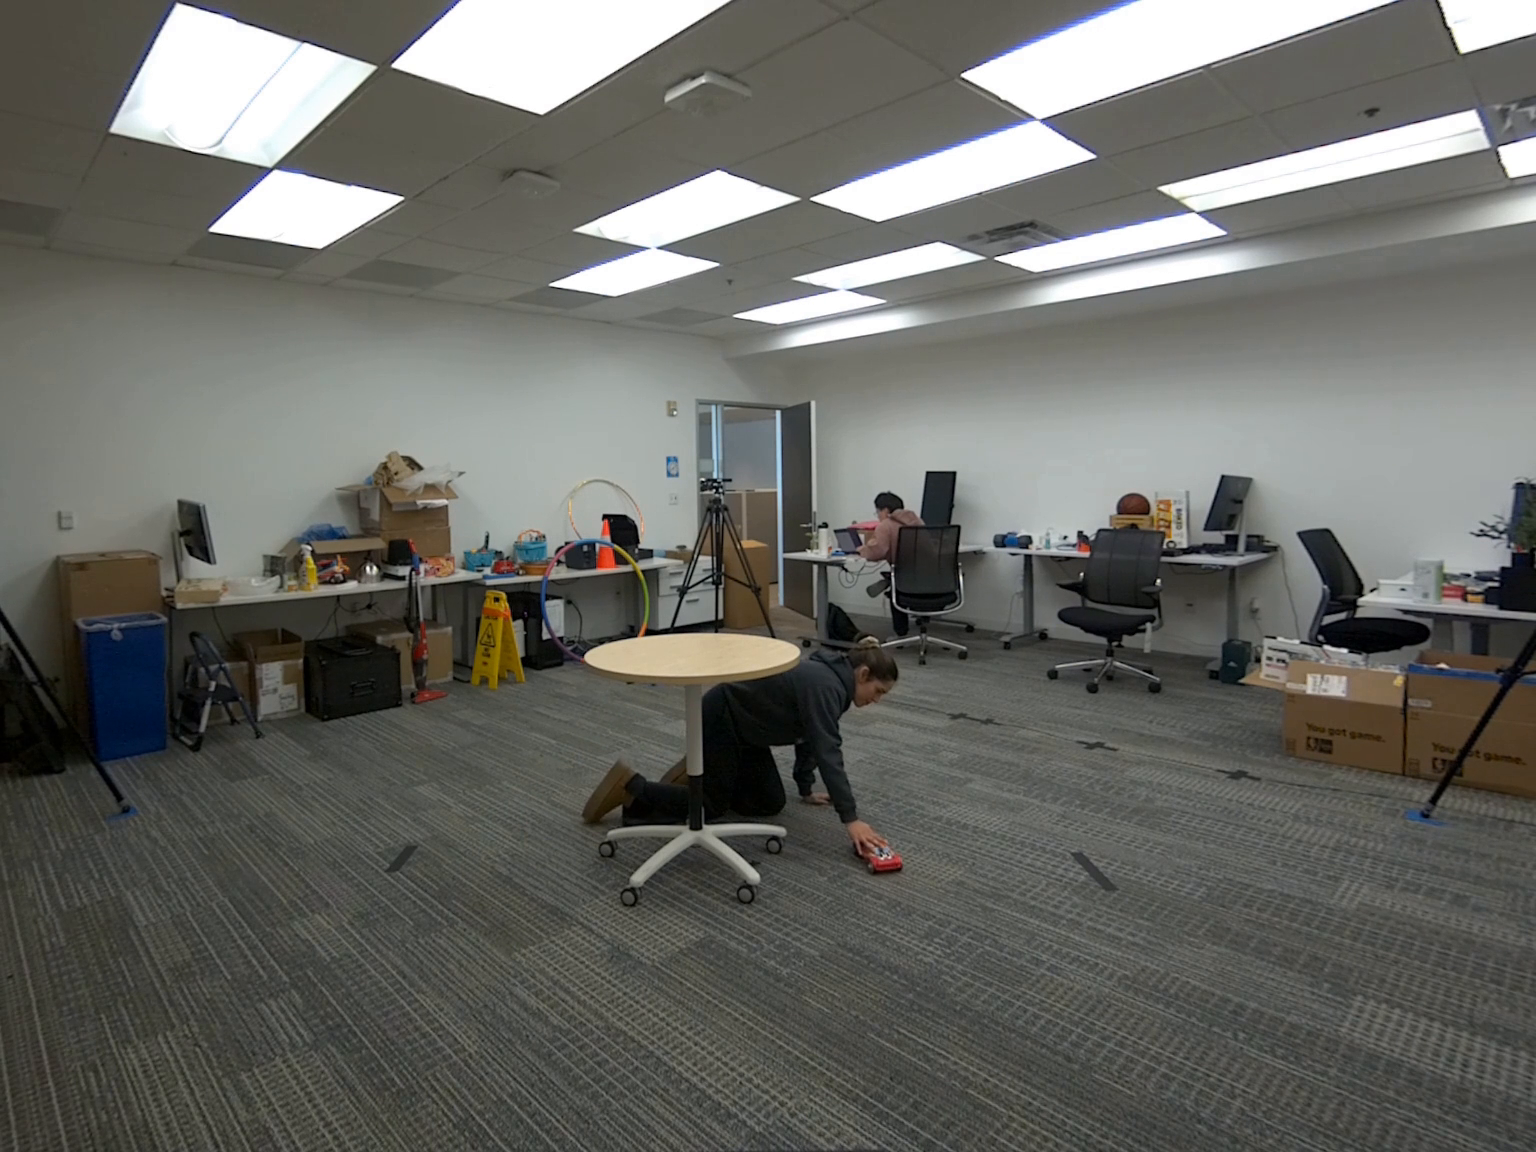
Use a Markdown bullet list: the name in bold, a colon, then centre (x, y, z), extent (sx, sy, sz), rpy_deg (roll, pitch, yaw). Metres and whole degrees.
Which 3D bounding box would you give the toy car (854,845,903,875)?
- **toy car**: centre (0.390, 1.006, 3.099), extent (0.129, 0.082, 0.261), rpy_deg (-1, 18, -14)
